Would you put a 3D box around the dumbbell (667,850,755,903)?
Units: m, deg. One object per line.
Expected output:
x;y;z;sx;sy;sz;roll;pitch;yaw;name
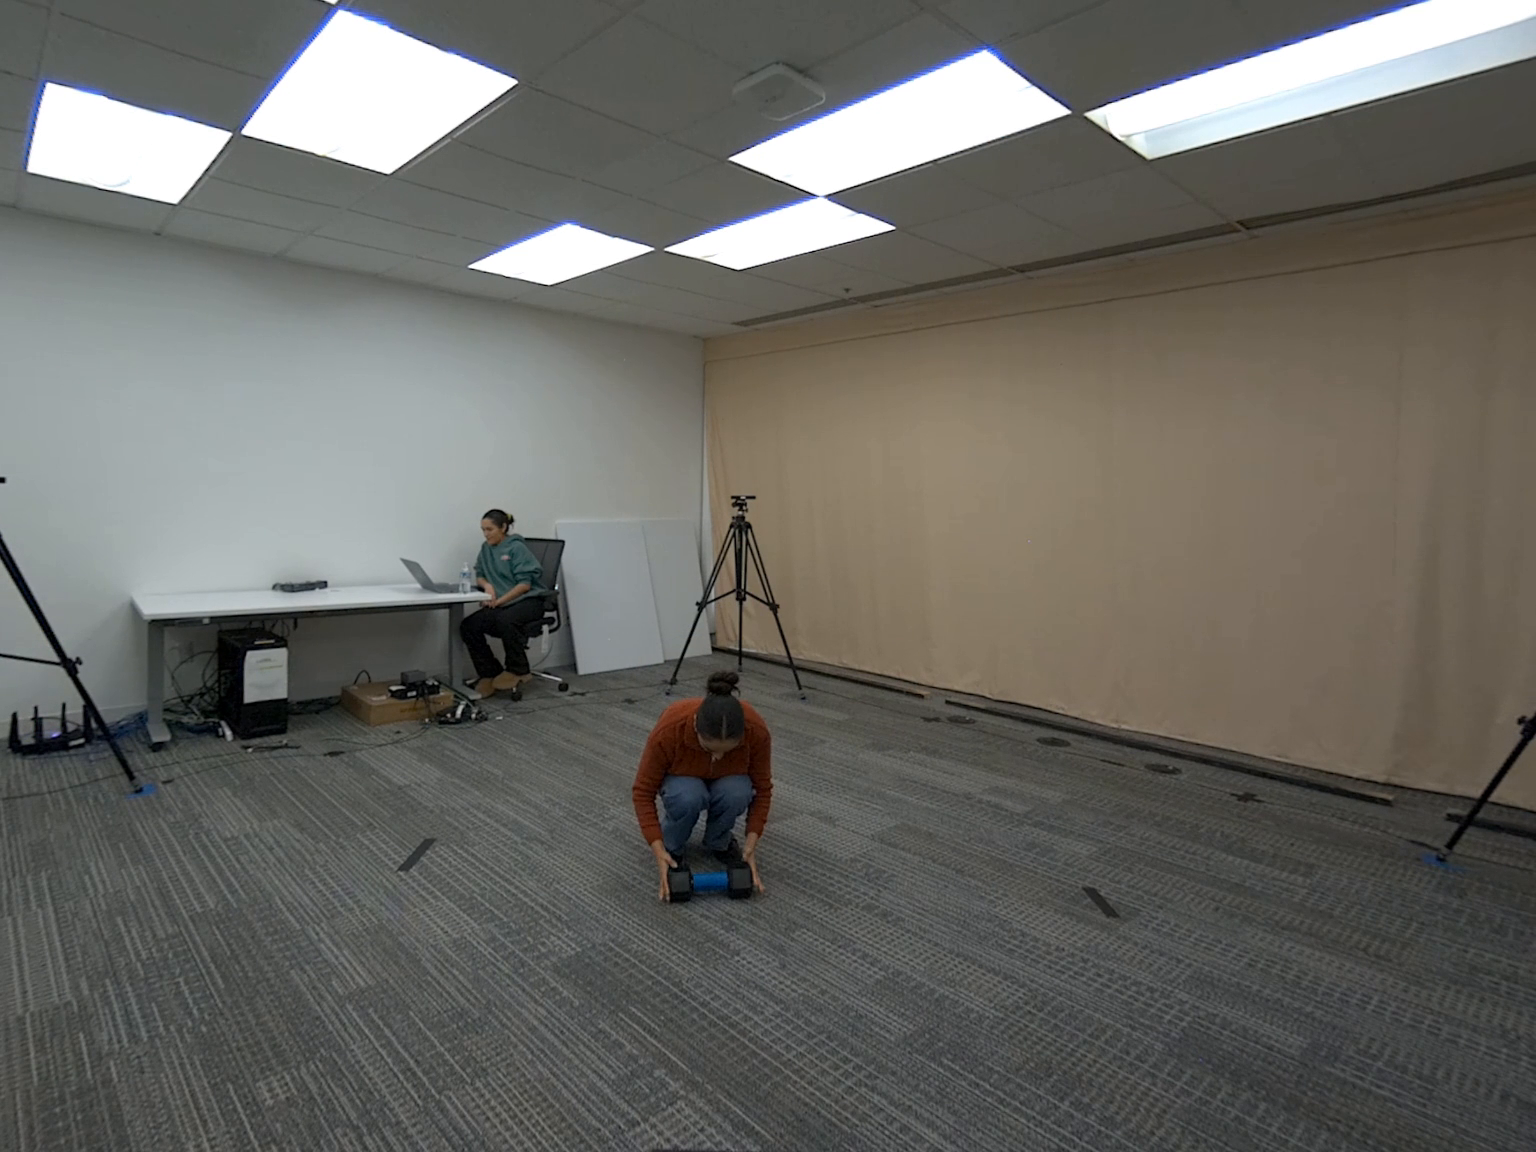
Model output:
-0.219;1.065;2.923;0.291;0.108;0.124;0;3;-11;dumbbell
